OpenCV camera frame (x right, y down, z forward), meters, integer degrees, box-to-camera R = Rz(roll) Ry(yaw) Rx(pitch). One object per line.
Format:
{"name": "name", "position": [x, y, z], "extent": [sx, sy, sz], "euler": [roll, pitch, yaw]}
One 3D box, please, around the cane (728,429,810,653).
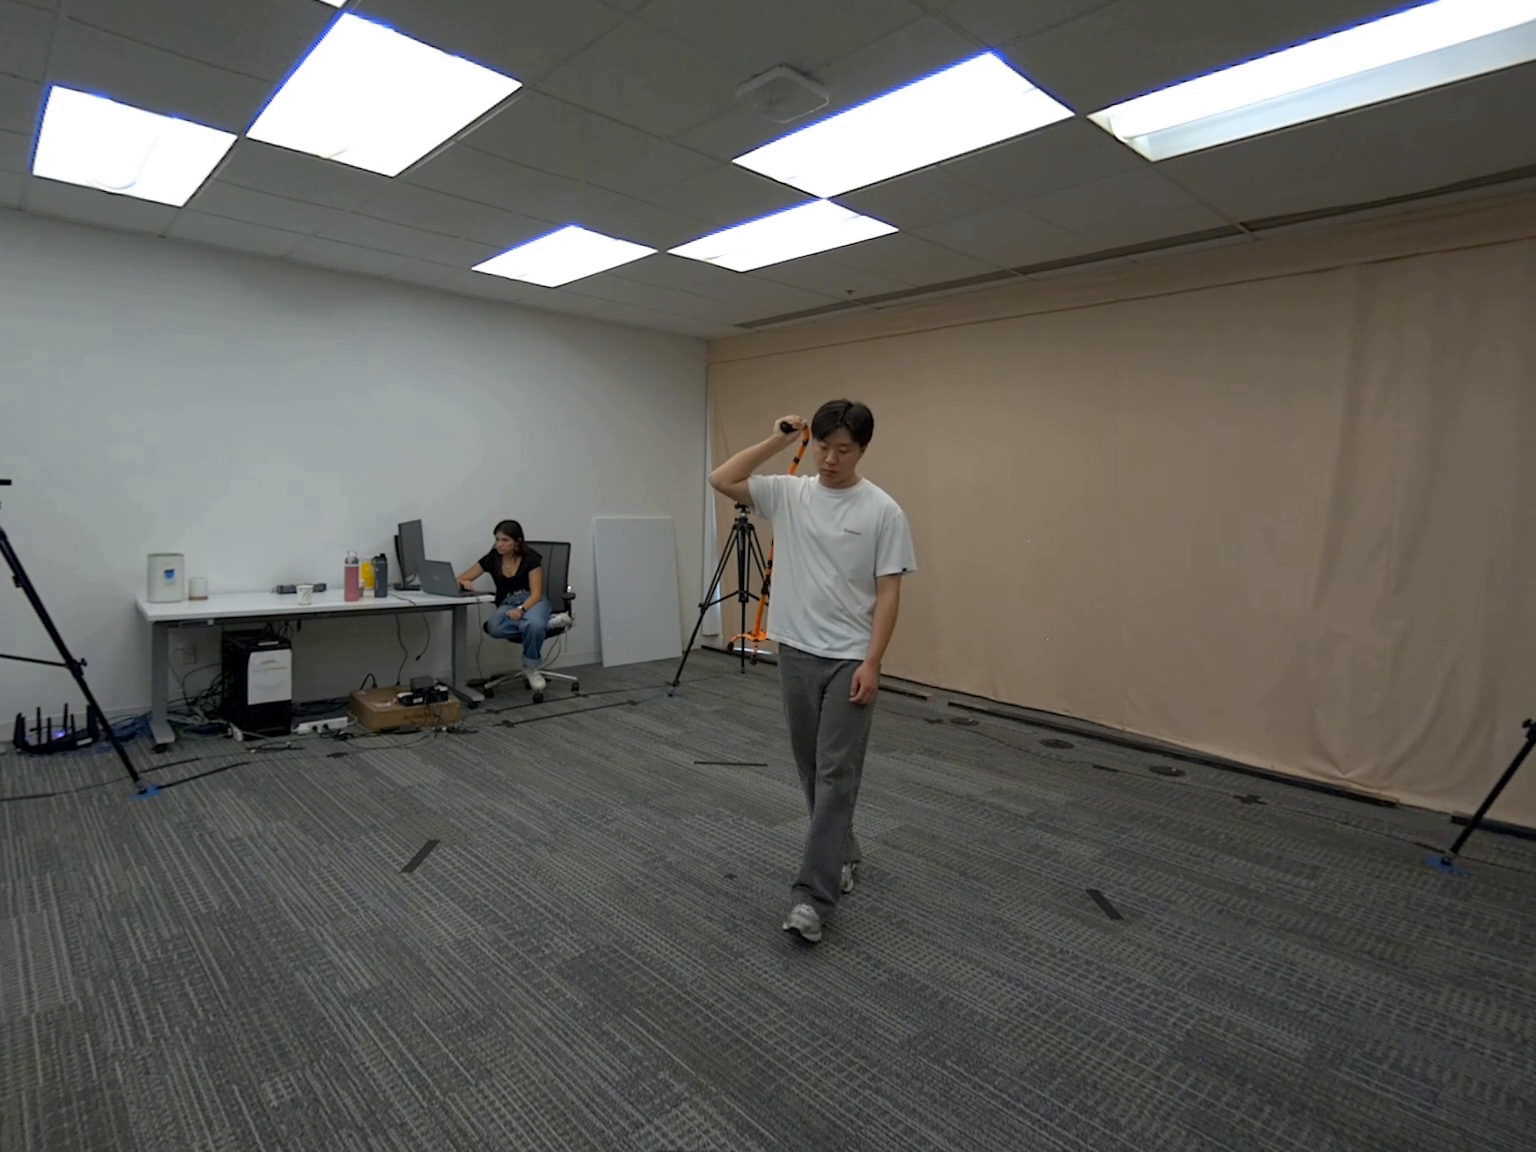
{"name": "cane", "position": [0.029, -0.126, 3.097], "extent": [0.202, 0.898, 0.156], "euler": [-6, 25, -40]}
